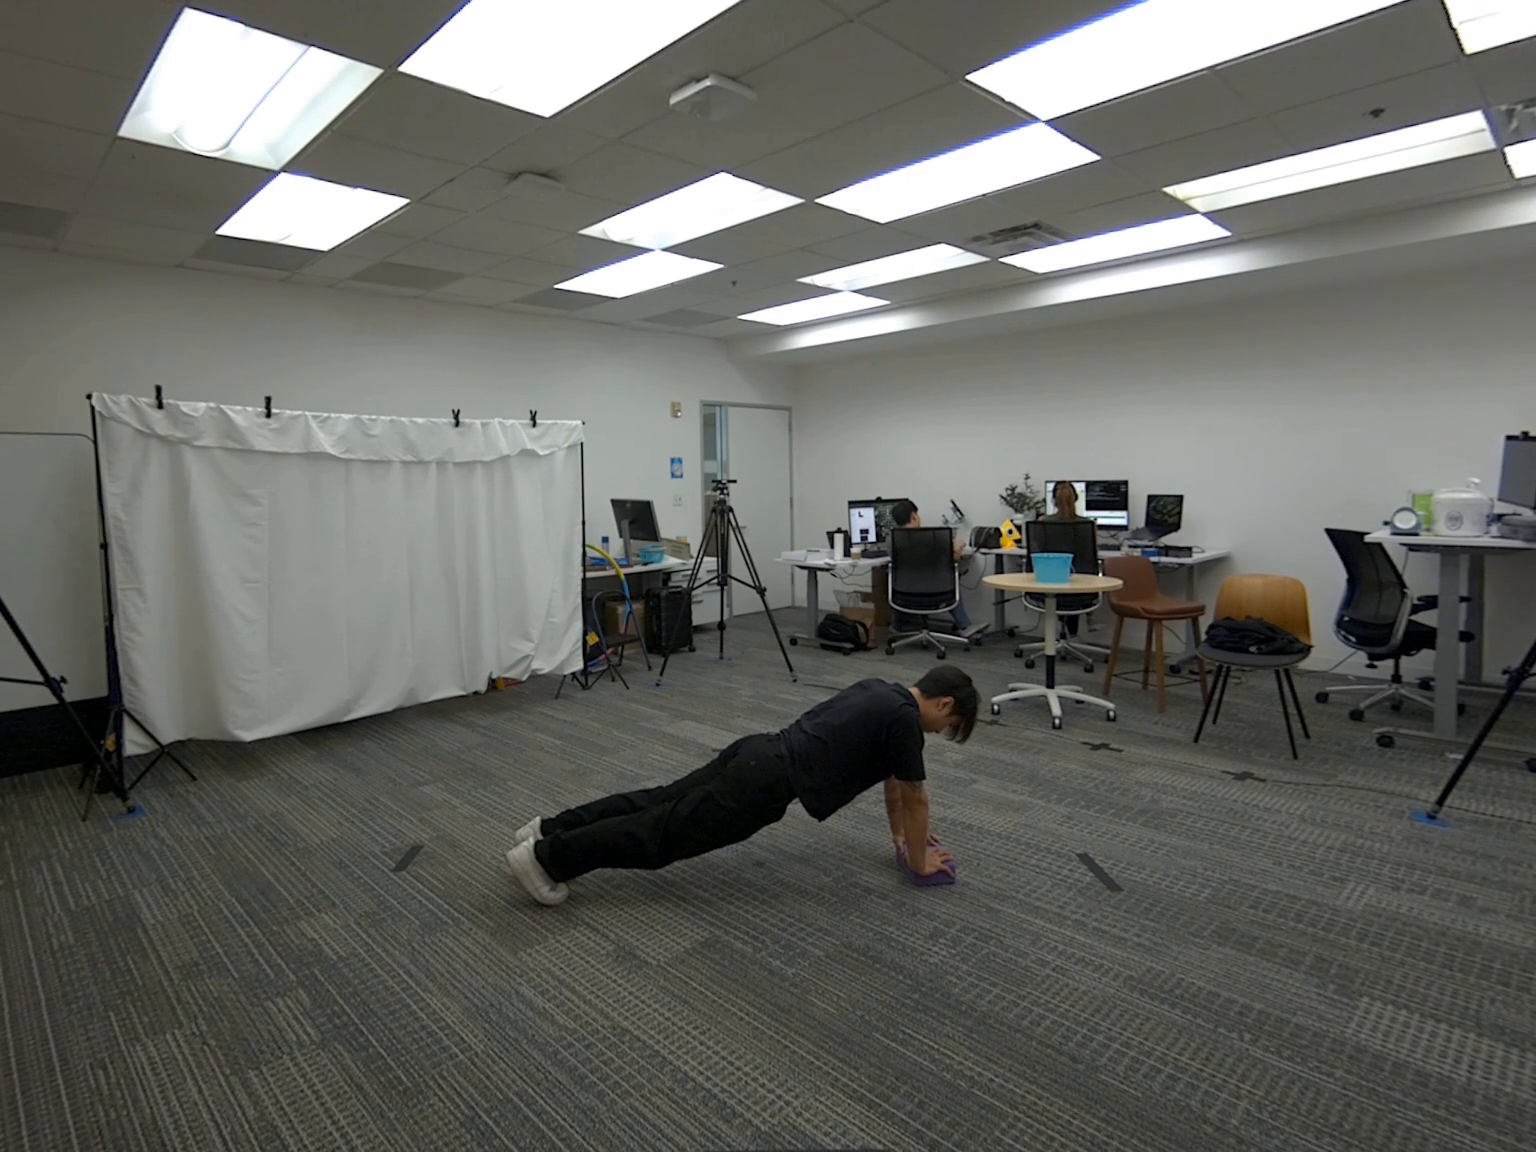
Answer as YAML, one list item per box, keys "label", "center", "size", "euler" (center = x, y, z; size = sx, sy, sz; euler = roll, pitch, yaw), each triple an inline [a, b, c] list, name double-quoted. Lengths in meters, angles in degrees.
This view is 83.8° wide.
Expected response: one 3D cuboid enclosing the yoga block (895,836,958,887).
- label: "yoga block"
  center: [0.555, 1.004, 3.027]
  size: [0.148, 0.076, 0.232]
  euler: [-2, 6, -8]
